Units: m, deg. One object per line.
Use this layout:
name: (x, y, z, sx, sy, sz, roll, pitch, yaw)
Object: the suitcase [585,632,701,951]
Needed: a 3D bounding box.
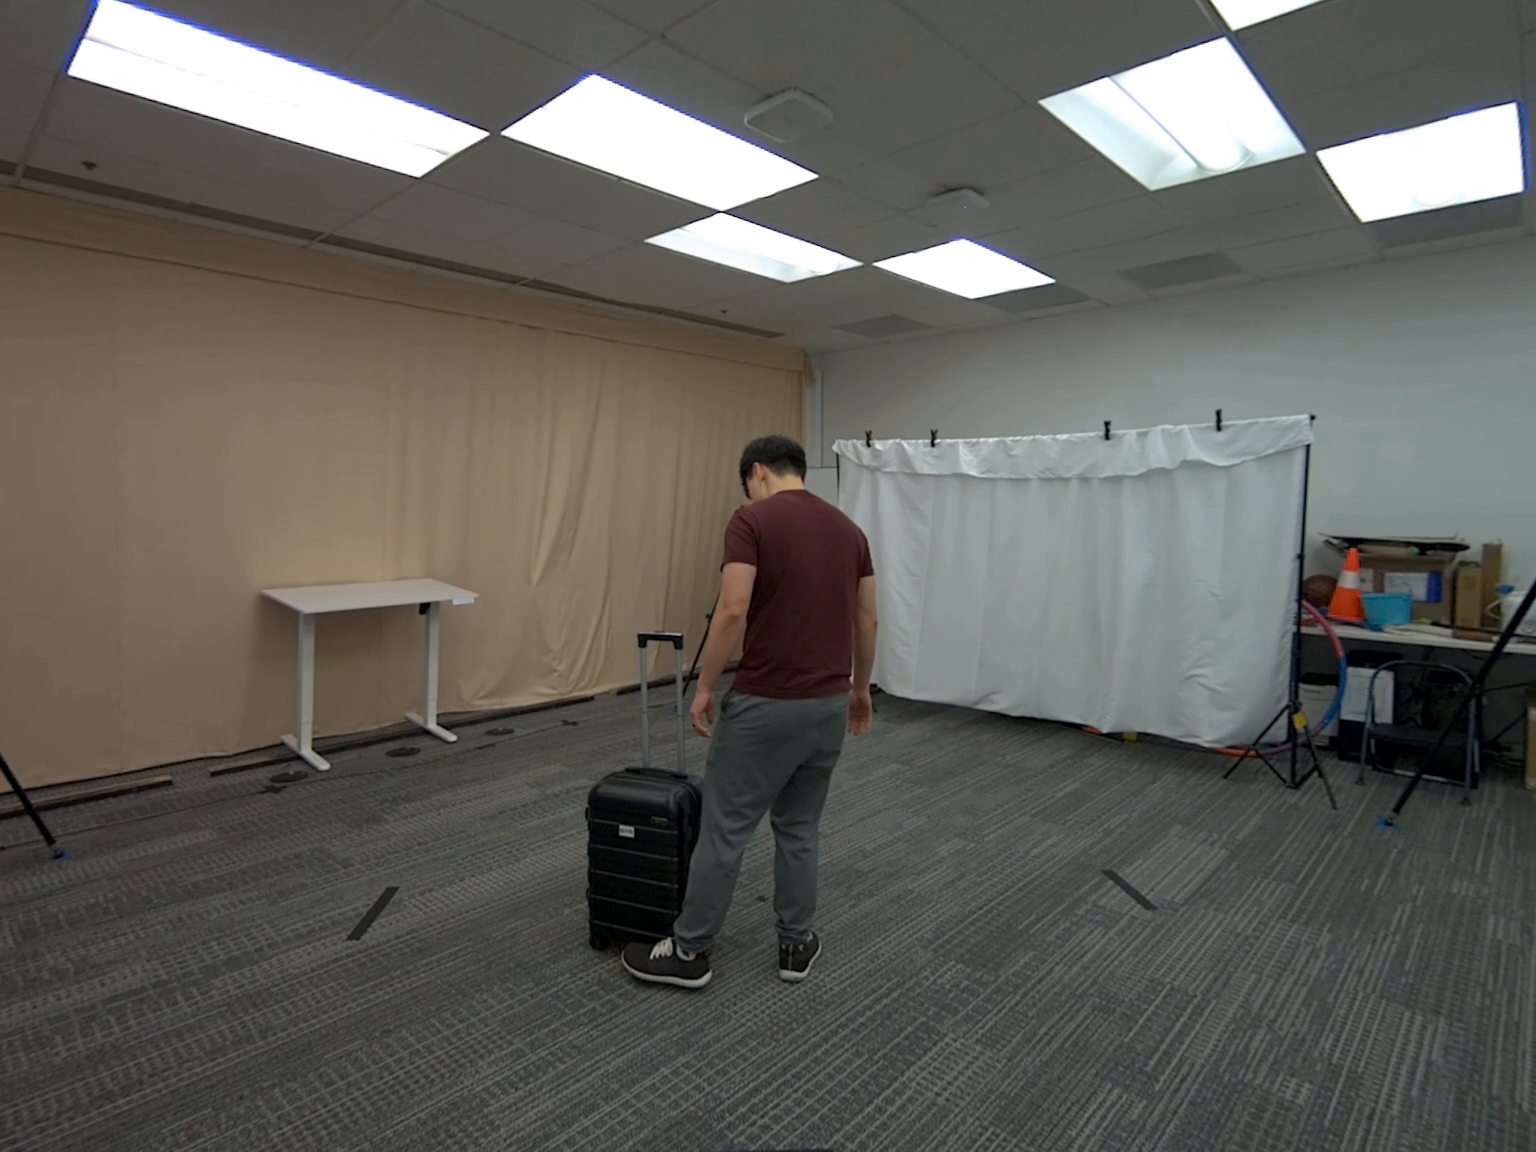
suitcase: (-0.376, 0.694, 2.649, 0.392, 0.976, 0.252, 0, 5, 21)
